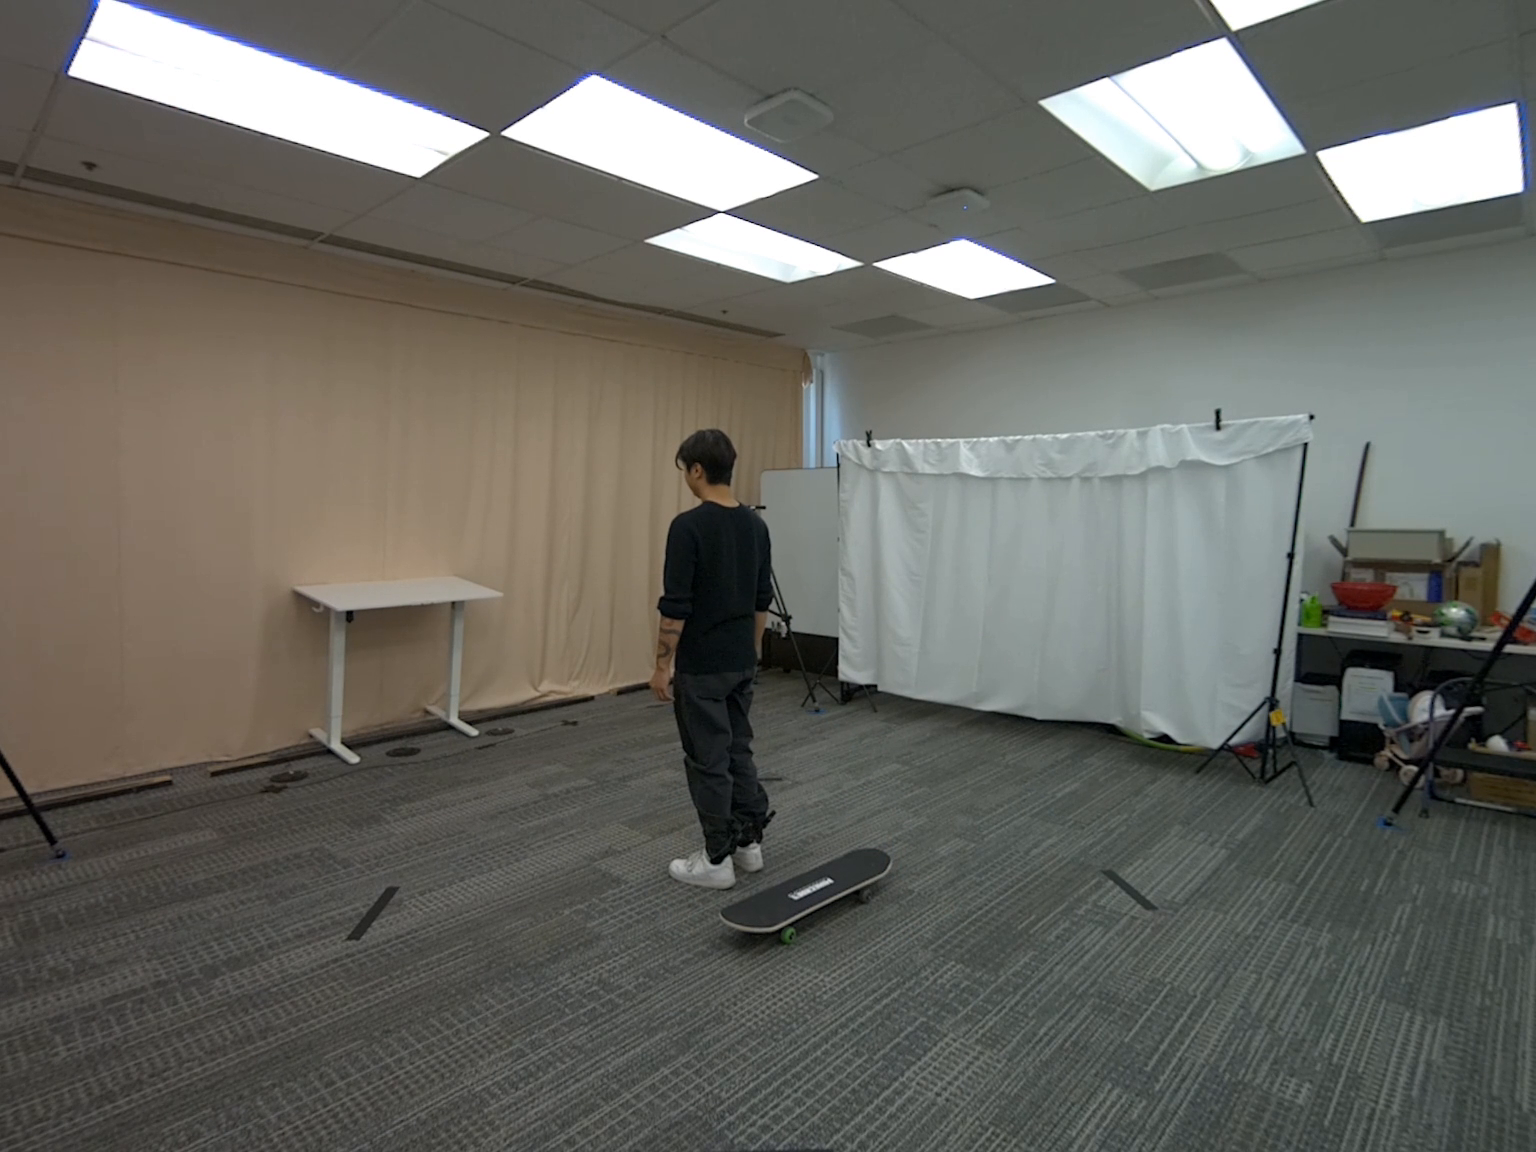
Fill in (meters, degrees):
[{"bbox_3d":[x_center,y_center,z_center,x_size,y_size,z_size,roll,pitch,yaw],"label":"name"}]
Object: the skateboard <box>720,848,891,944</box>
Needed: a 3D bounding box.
[{"bbox_3d":[0.145,1.096,2.866,0.761,0.110,0.200,-5,7,-44],"label":"skateboard"}]
